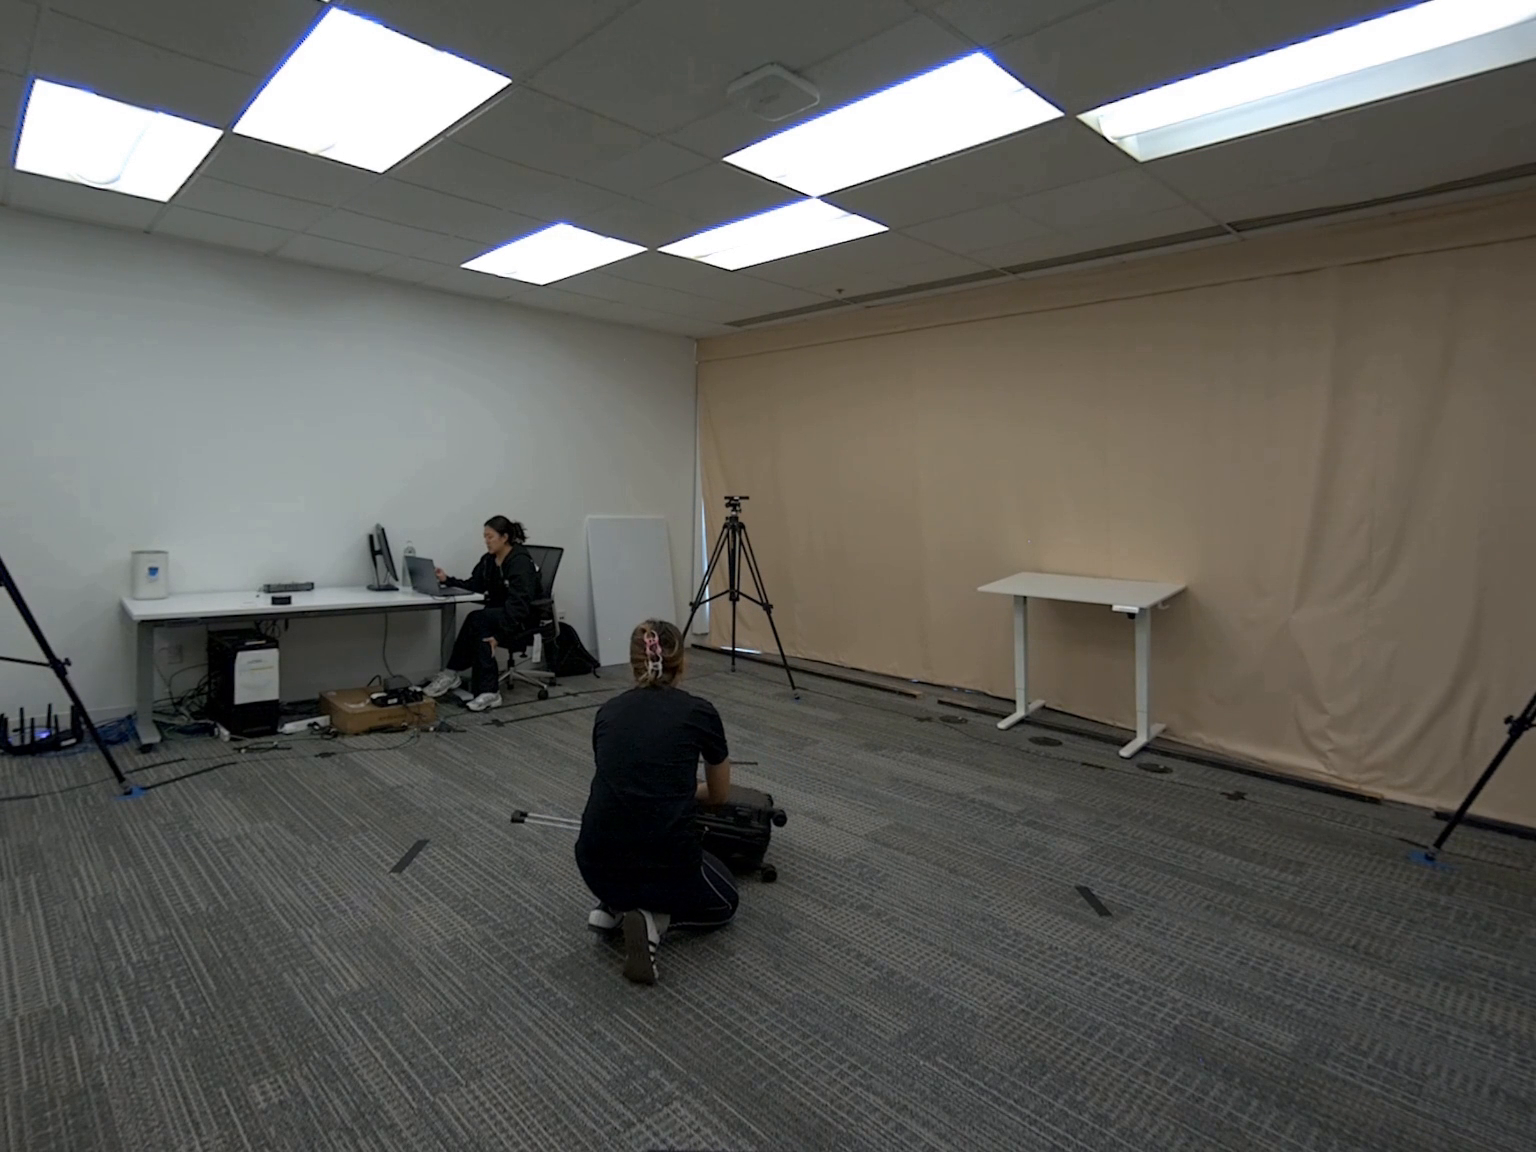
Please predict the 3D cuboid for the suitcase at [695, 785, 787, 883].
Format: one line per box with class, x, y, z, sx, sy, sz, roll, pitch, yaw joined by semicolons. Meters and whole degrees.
suitcase;-0.444;0.880;3.170;0.973;0.258;0.385;13;-5;-7
